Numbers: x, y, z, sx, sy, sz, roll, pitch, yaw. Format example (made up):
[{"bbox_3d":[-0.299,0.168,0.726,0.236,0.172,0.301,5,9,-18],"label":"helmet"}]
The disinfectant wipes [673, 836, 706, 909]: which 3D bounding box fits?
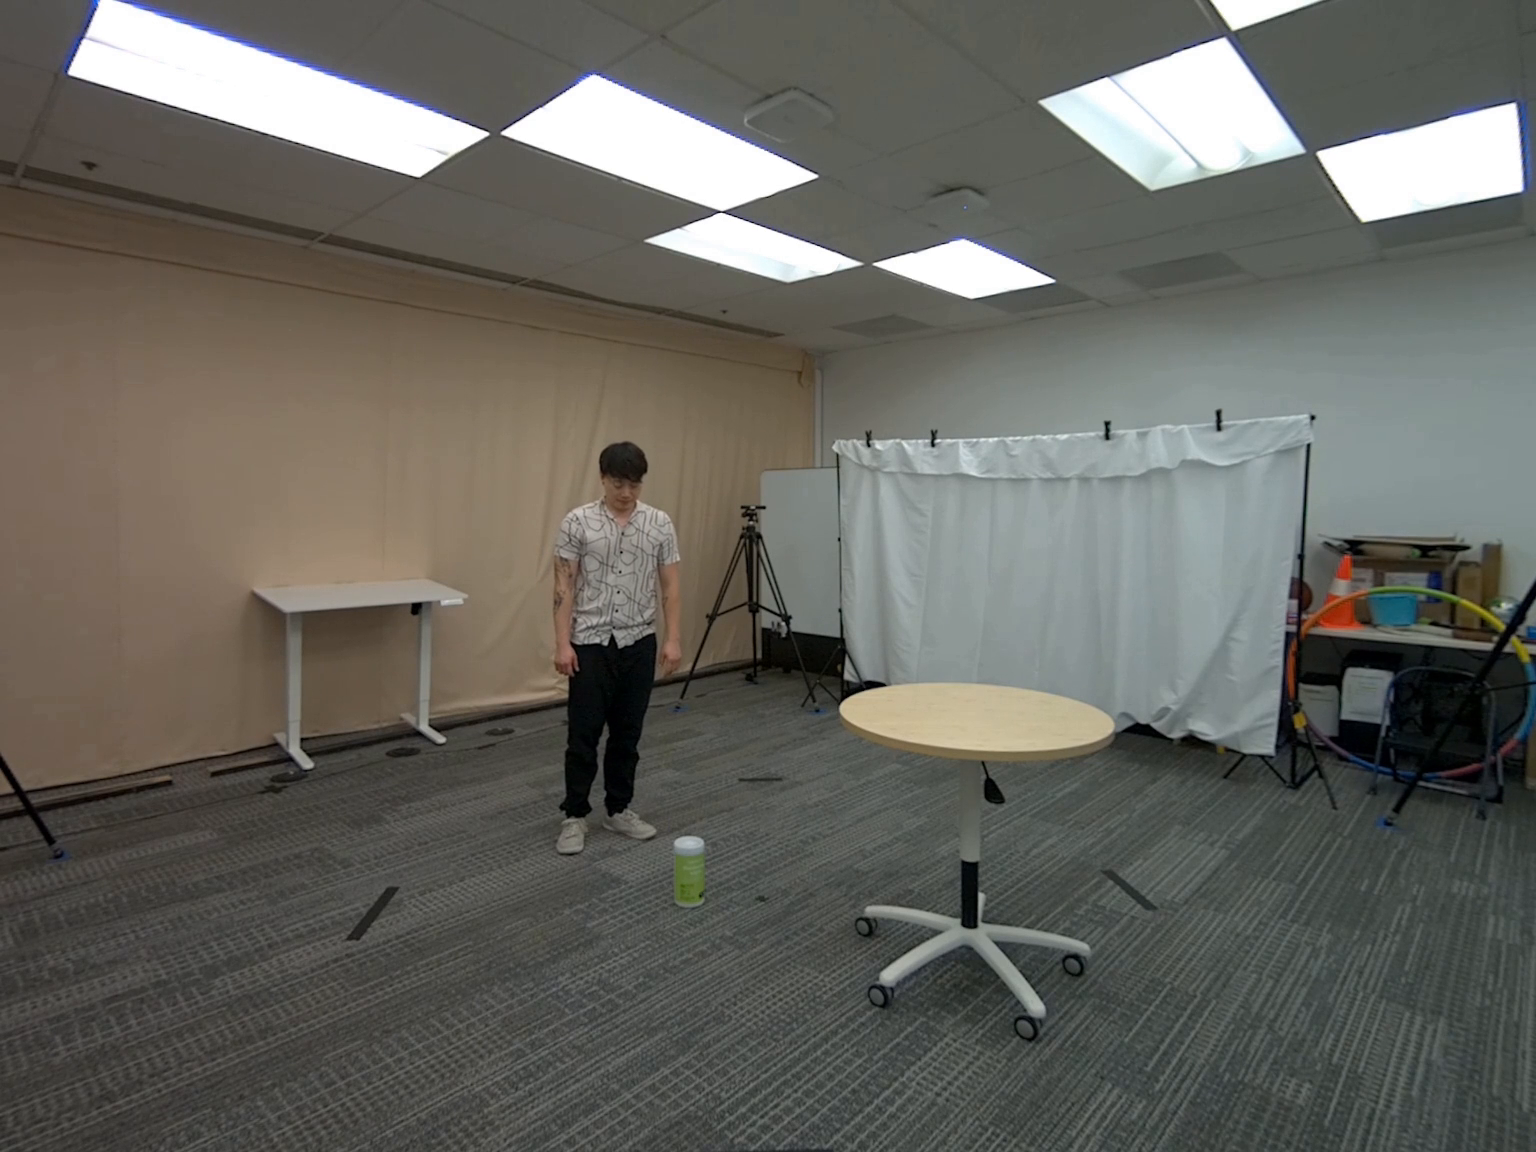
[{"bbox_3d":[-0.281,1.040,2.958,0.118,0.217,0.118,1,3,-2],"label":"disinfectant wipes"}]
